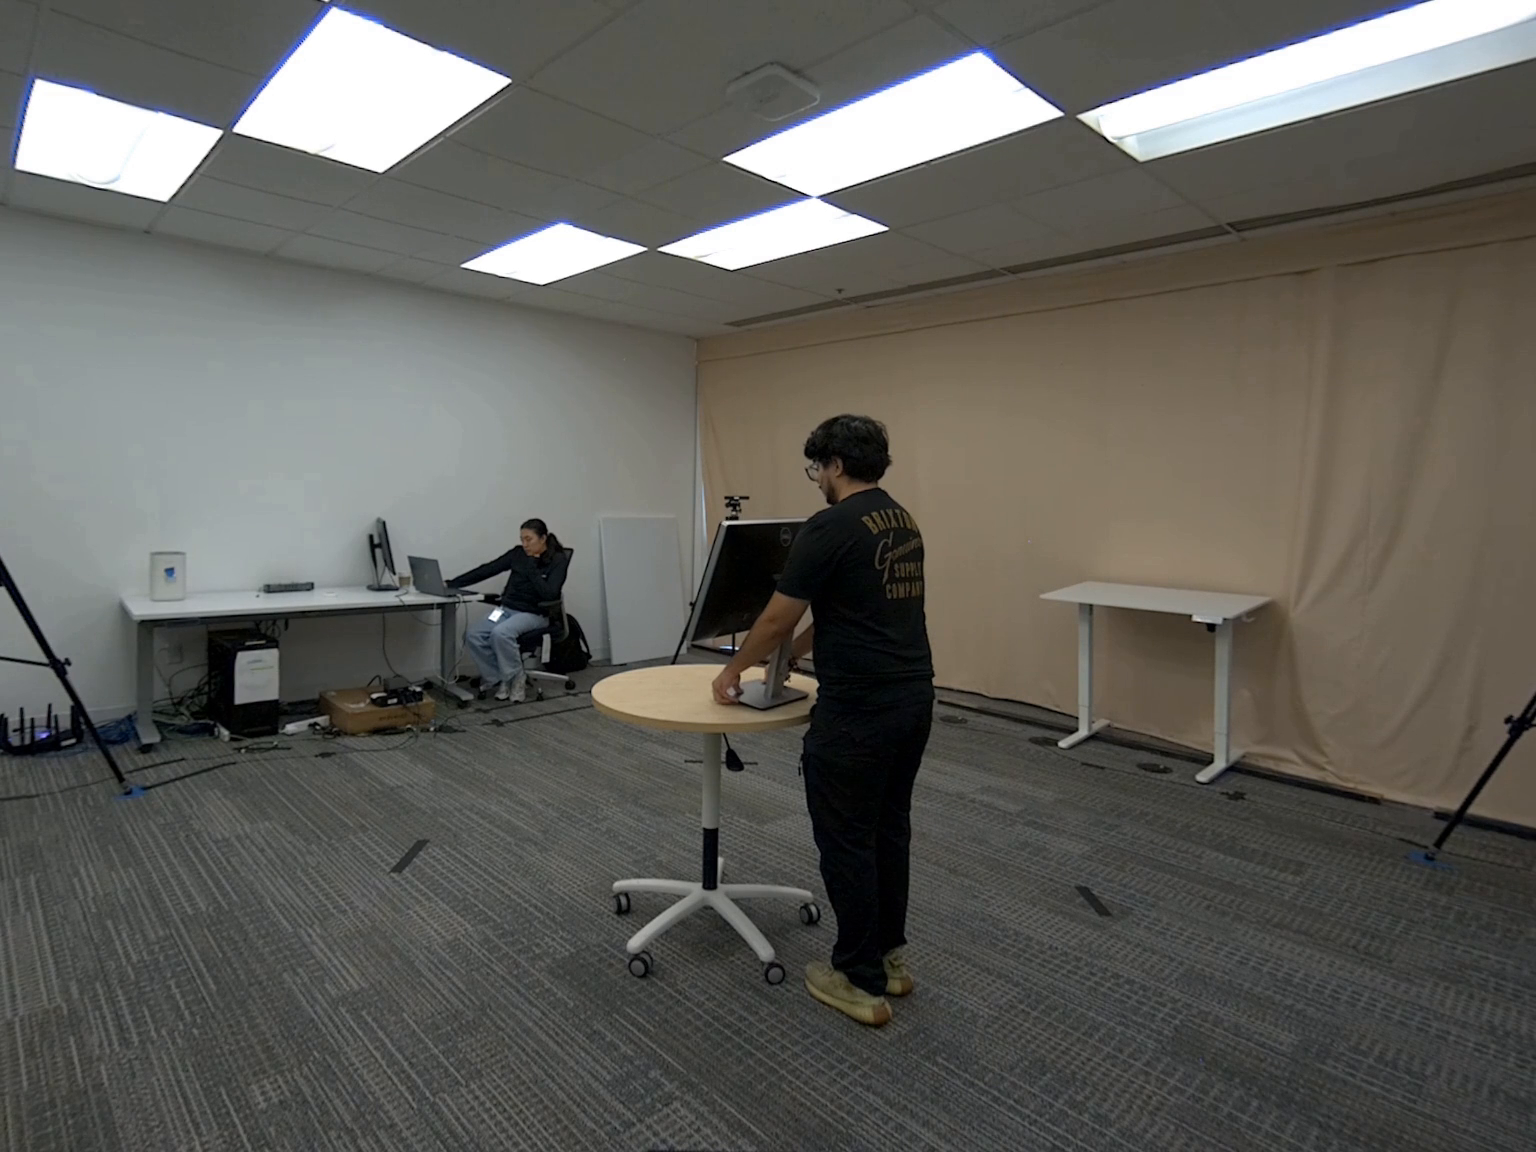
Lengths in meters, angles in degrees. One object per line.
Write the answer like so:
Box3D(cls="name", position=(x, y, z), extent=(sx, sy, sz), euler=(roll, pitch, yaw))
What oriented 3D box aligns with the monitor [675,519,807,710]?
Box3D(cls="monitor", position=(0.021, 0.111, 2.517), extent=(0.216, 0.550, 0.553), euler=(21, 15, 34))
